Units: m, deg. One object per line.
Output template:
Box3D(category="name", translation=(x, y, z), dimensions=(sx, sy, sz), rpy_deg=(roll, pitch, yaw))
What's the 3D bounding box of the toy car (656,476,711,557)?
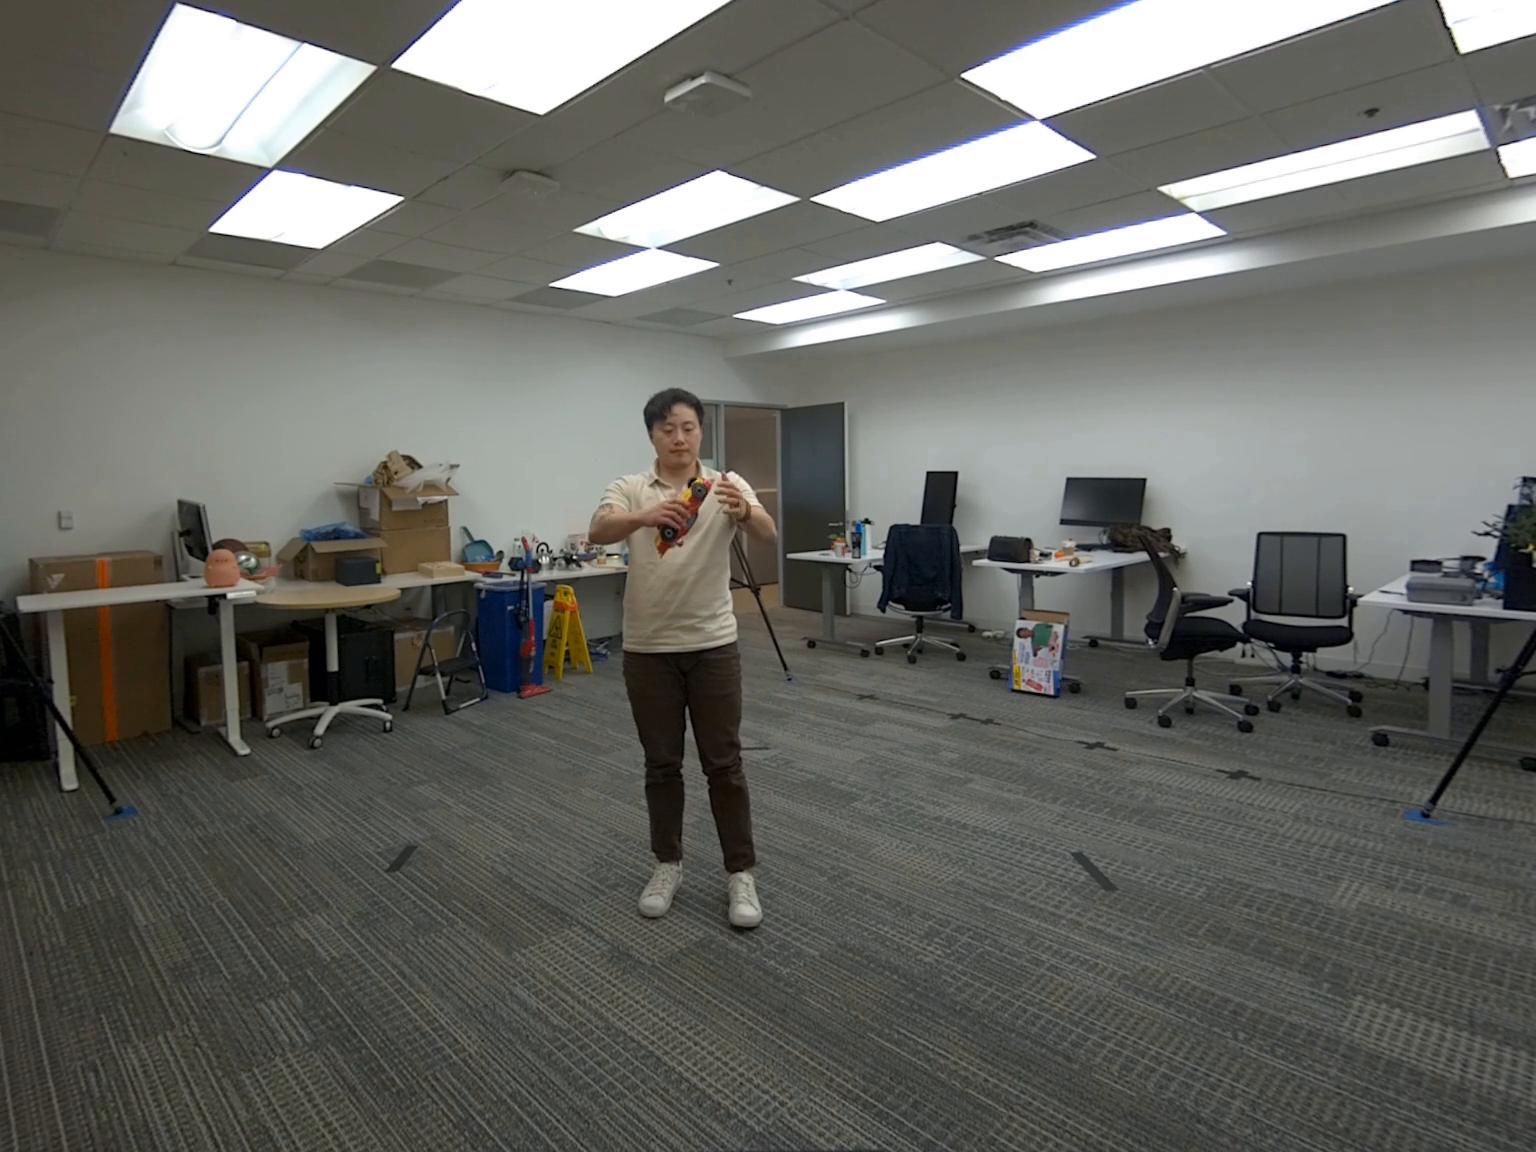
Box3D(category="toy car", translation=(-0.248, -0.169, 2.421), dimensions=(0.082, 0.254, 0.133), rpy_deg=(24, 7, -16))
